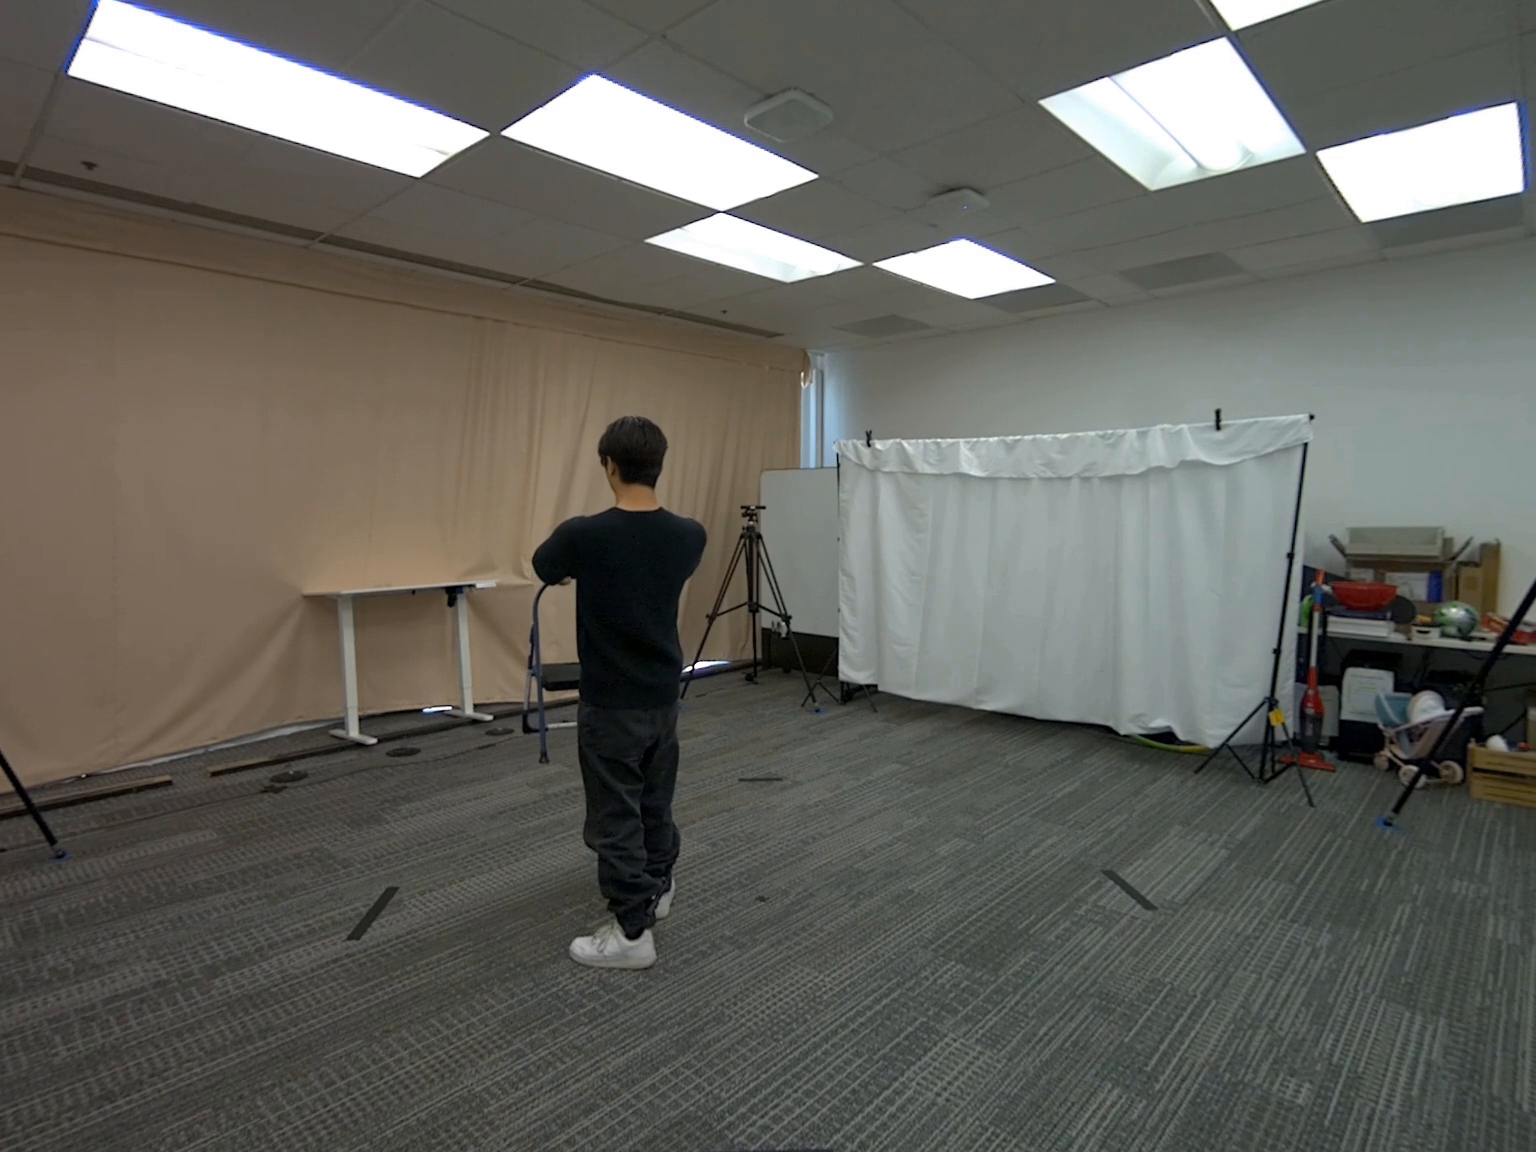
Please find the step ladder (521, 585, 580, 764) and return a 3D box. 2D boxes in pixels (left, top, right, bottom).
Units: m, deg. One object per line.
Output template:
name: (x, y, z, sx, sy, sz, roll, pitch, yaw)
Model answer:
step ladder: (-0.641, 0.303, 3.027, 0.420, 0.604, 0.359, -1, 7, -27)
